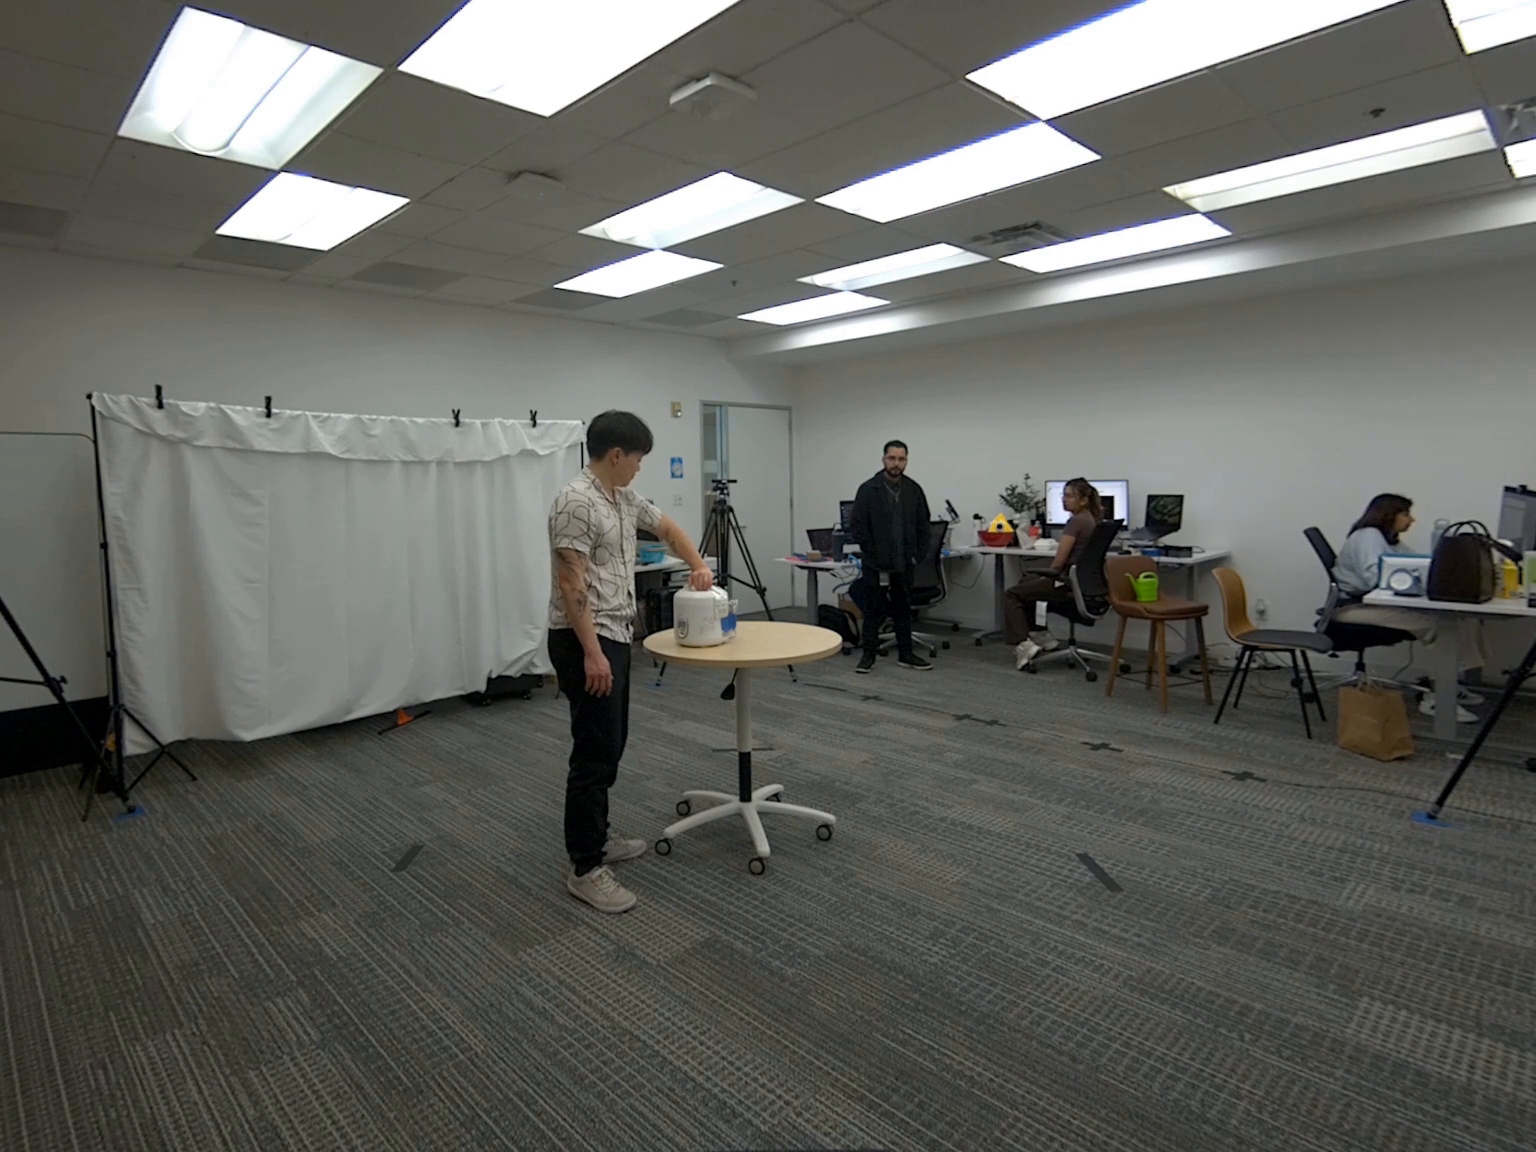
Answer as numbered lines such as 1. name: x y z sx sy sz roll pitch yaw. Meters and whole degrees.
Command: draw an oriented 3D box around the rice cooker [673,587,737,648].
1. rice cooker: -0.249 0.138 3.231 0.227 0.232 0.211 1 4 40
